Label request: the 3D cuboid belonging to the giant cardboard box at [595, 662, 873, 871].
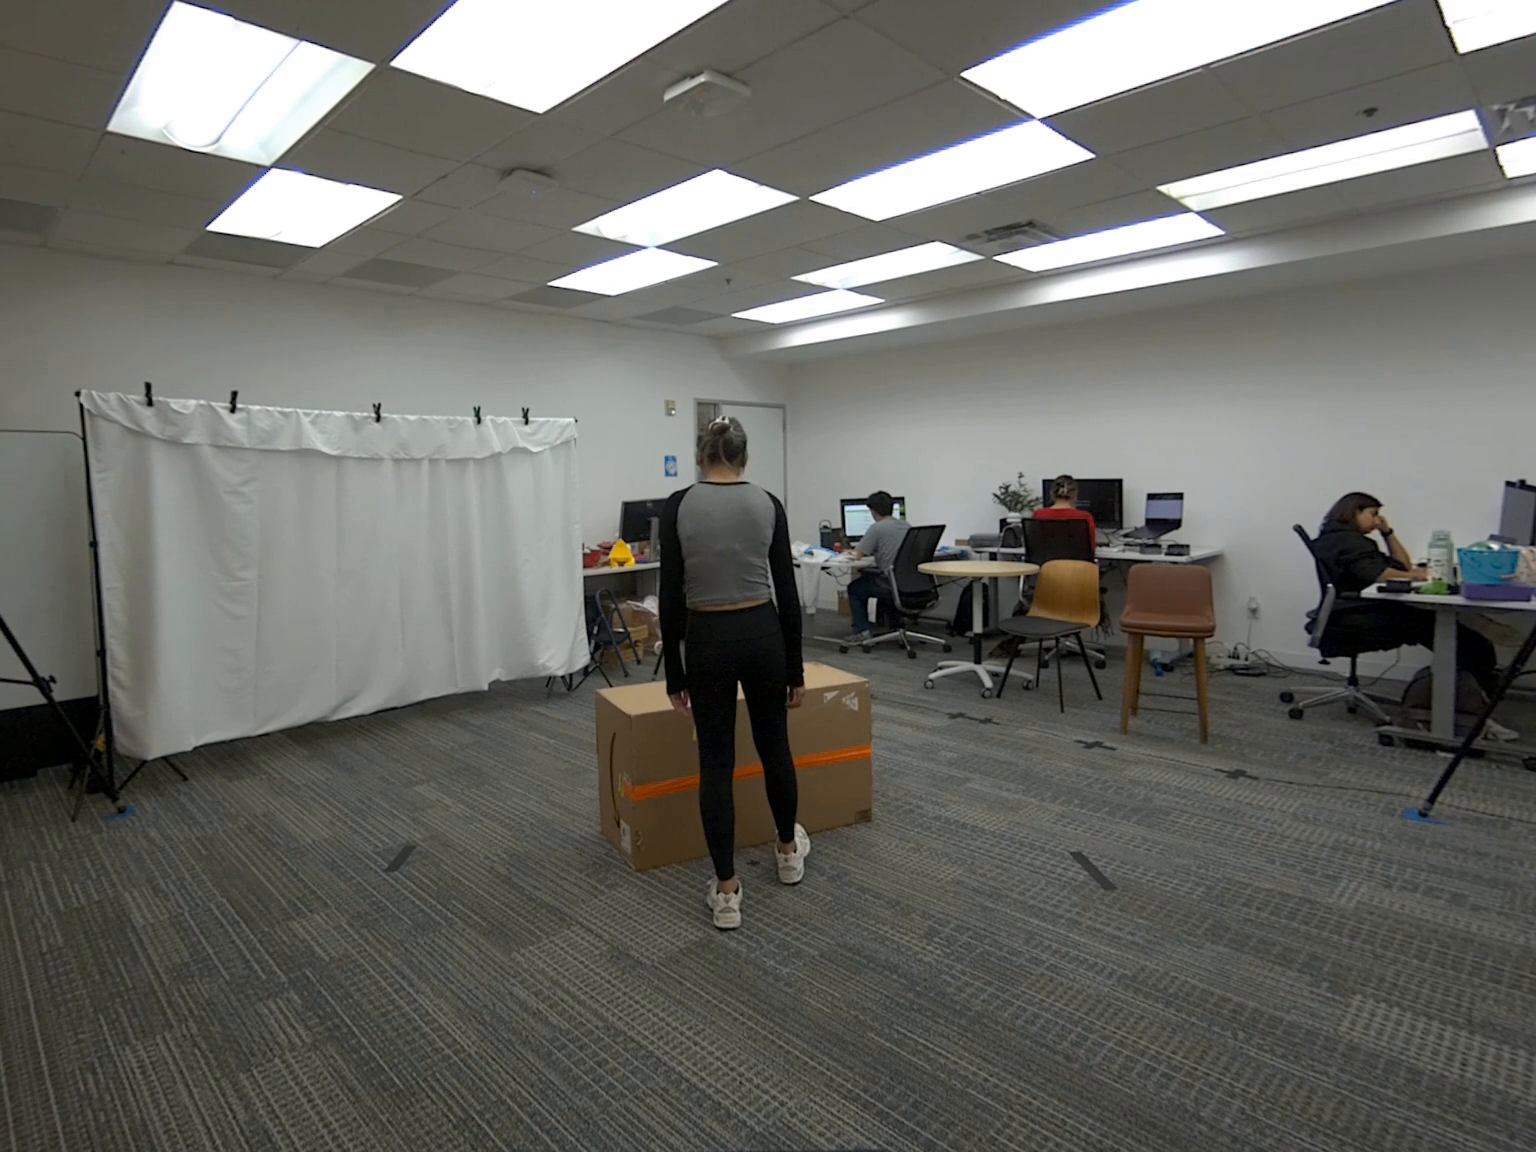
[{"bbox_3d":[-0.131,0.718,3.426,1.004,0.575,0.437,-4,5,-26],"label":"giant cardboard box"}]
